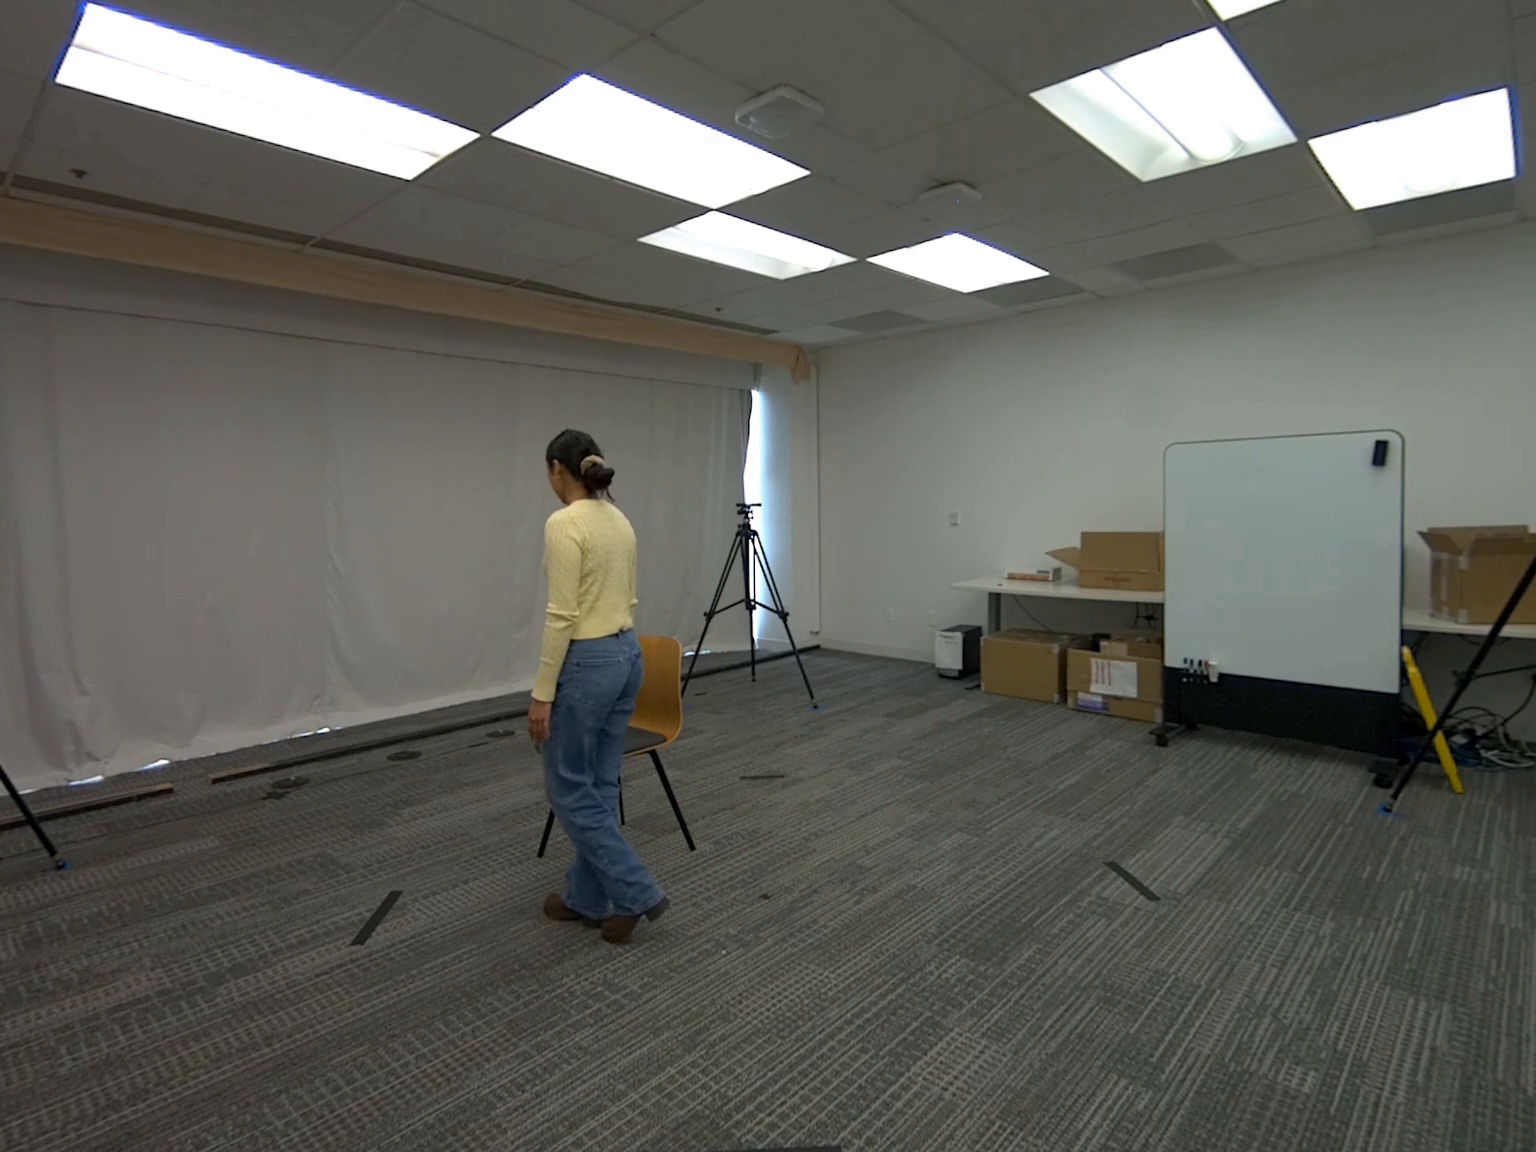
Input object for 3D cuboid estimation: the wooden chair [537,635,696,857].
[{"bbox_3d":[-0.615,0.689,3.343,0.494,0.877,0.506,2,1,42],"label":"wooden chair"}]
